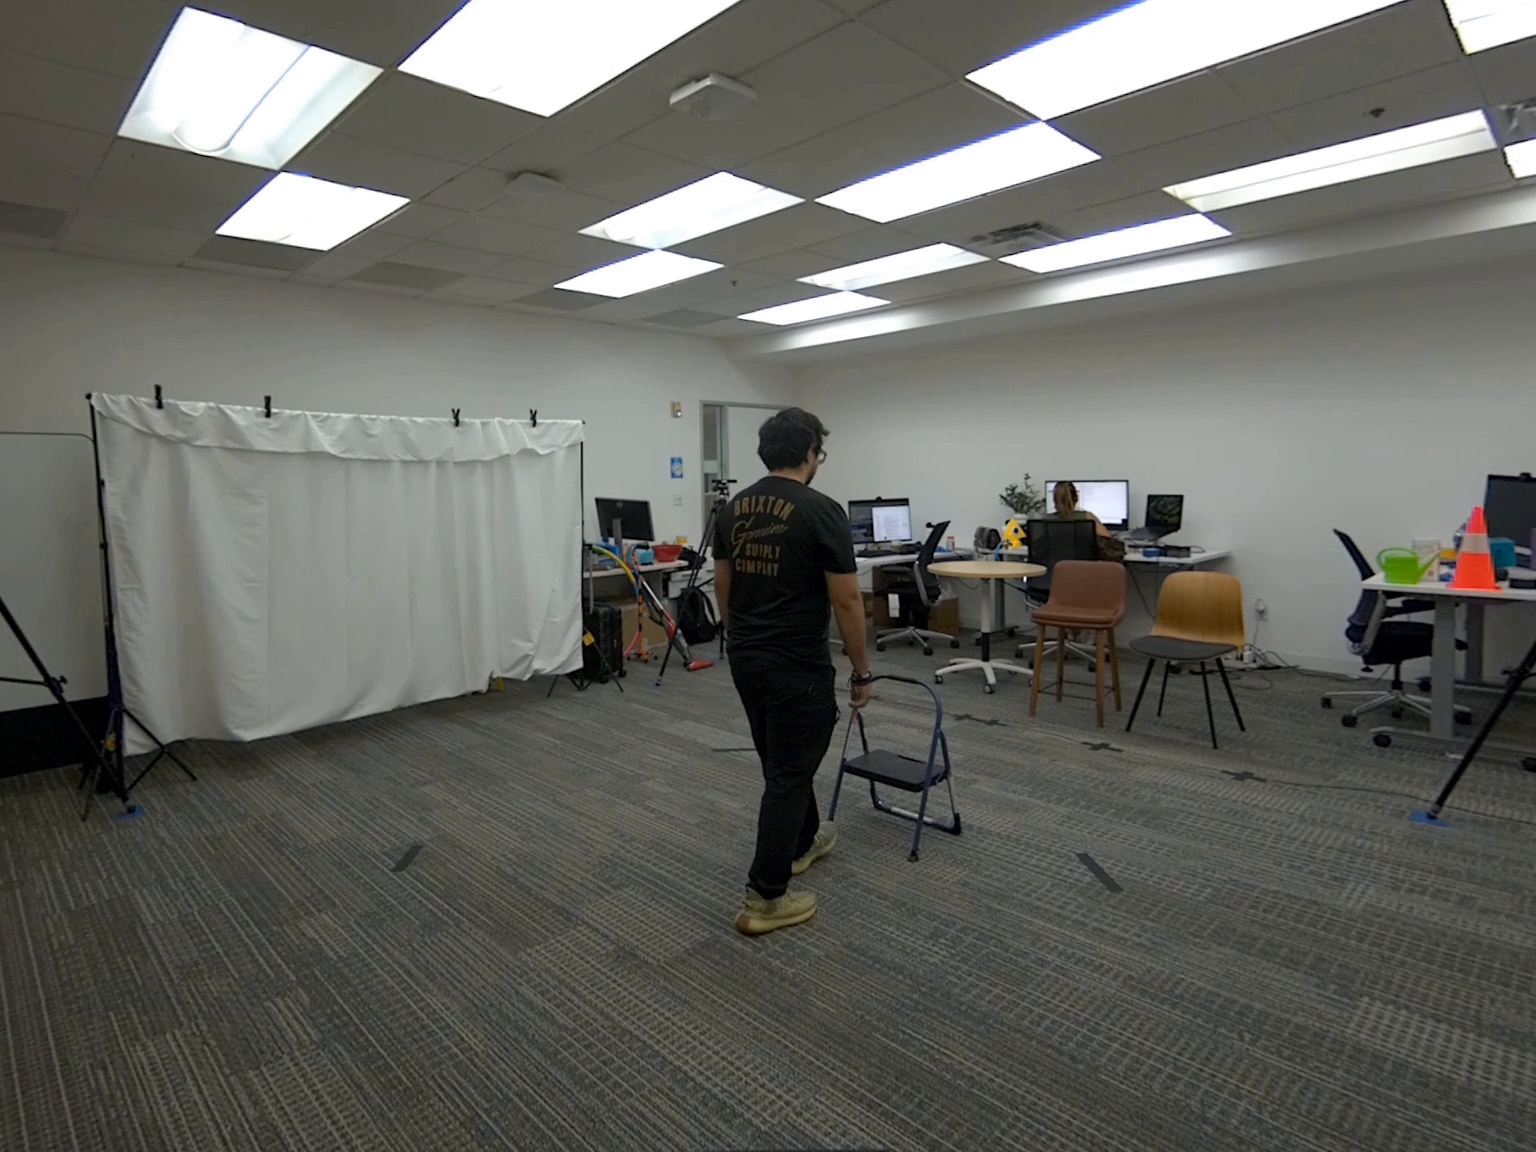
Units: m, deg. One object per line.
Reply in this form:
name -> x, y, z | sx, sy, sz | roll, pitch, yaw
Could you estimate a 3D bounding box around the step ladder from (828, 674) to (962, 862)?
step ladder -> 0.491, 0.708, 3.354 | 0.444, 0.604, 0.340 | 4, 6, 44
